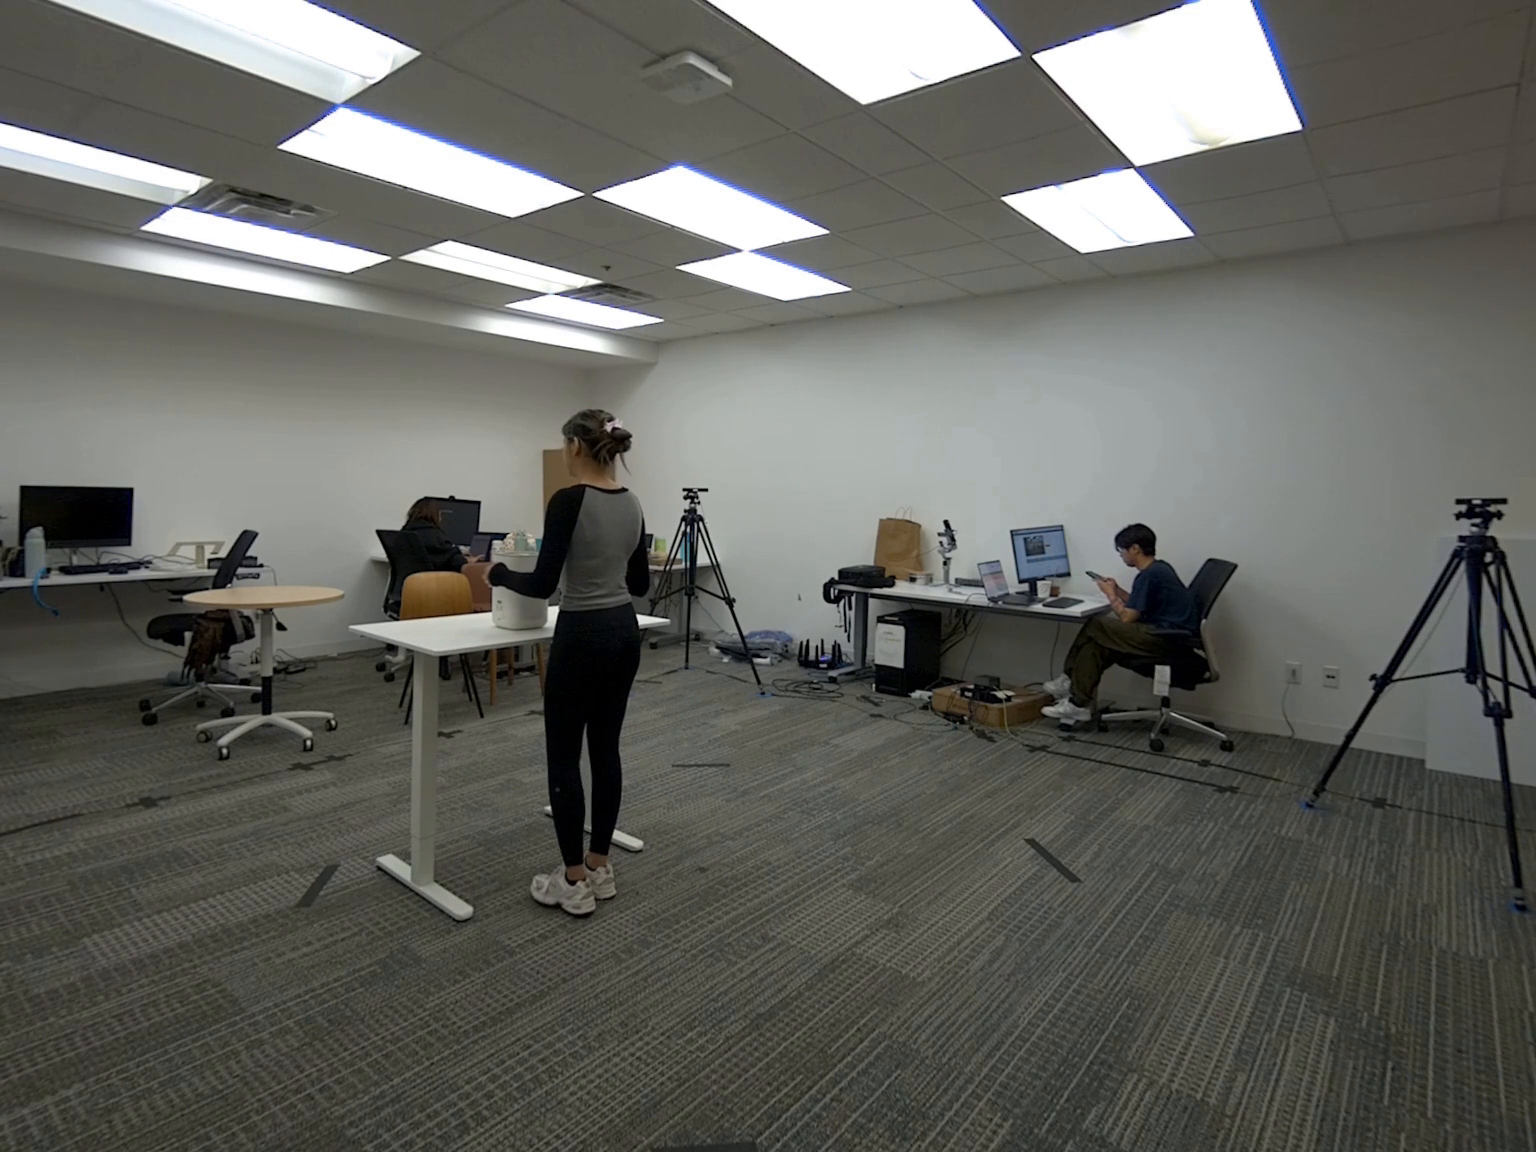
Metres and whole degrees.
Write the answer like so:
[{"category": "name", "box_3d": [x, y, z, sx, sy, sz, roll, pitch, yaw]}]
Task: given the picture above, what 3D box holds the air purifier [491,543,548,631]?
[{"category": "air purifier", "box_3d": [-0.902, 0.048, 3.064, 0.177, 0.265, 0.166, 5, 3, 41]}]
